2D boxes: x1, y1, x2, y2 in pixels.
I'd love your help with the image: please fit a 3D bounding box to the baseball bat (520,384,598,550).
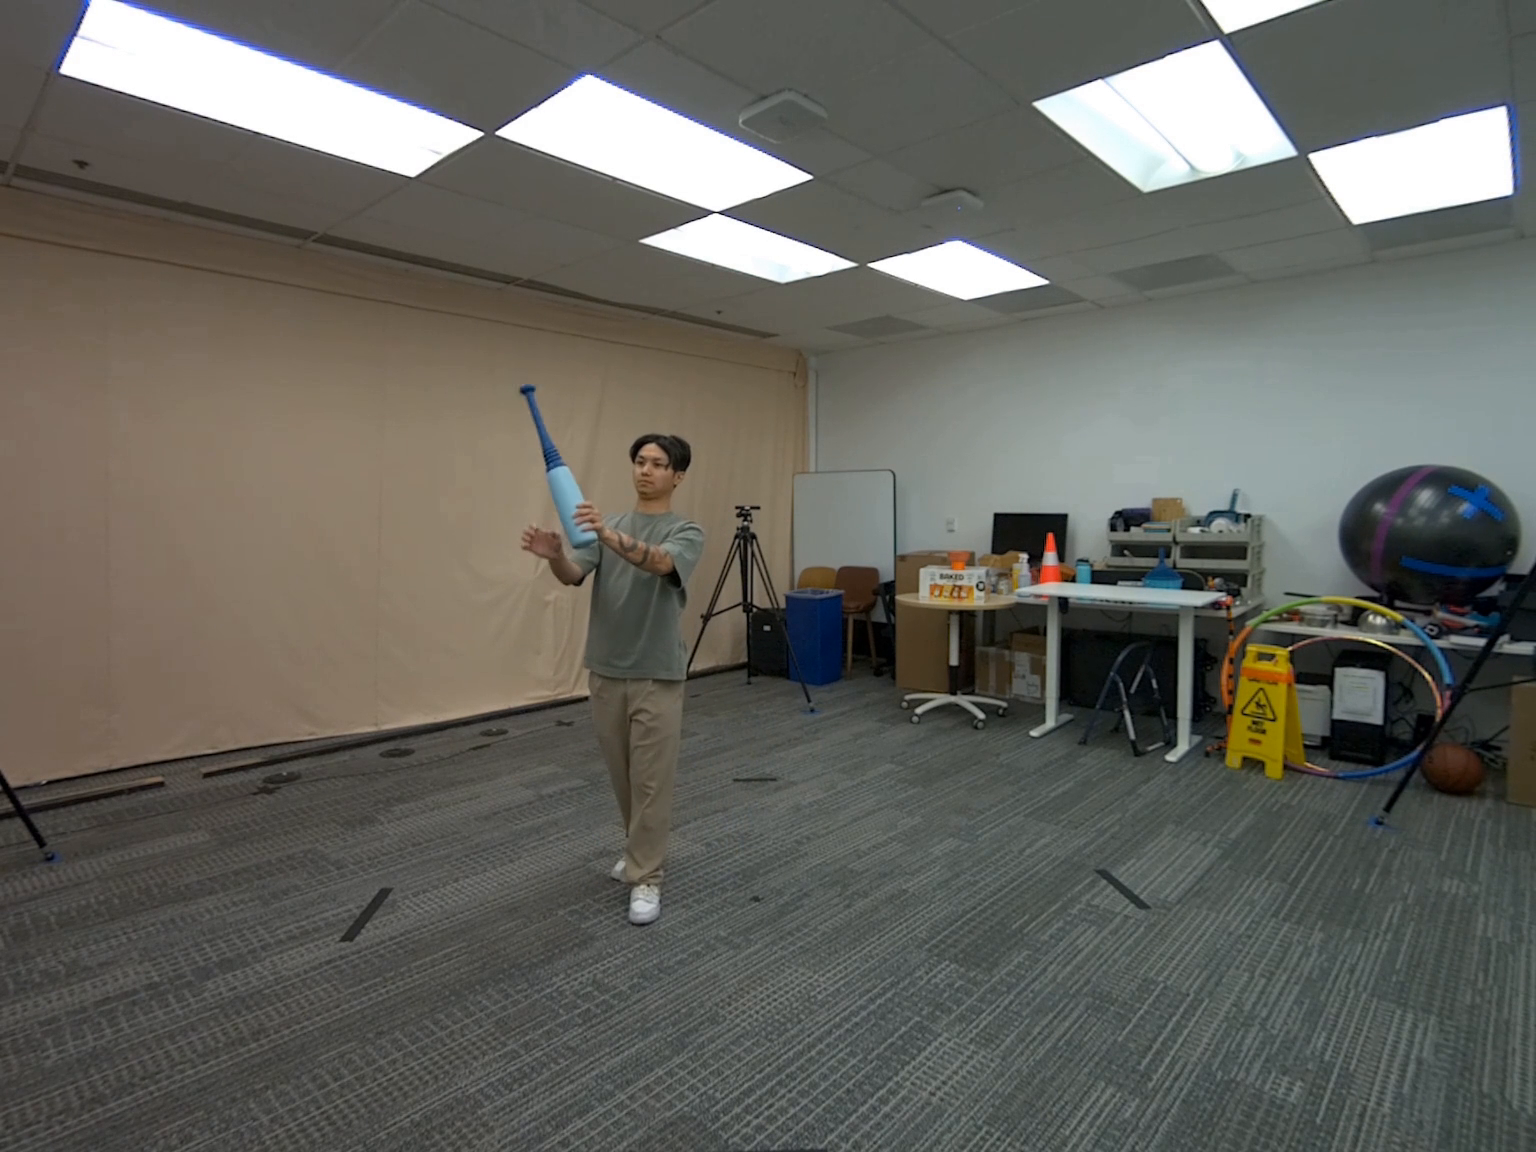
[{"bbox_3d":[-0.655,-0.336,2.563,0.089,0.547,0.088,-21,-8,-4],"label":"baseball bat"}]
